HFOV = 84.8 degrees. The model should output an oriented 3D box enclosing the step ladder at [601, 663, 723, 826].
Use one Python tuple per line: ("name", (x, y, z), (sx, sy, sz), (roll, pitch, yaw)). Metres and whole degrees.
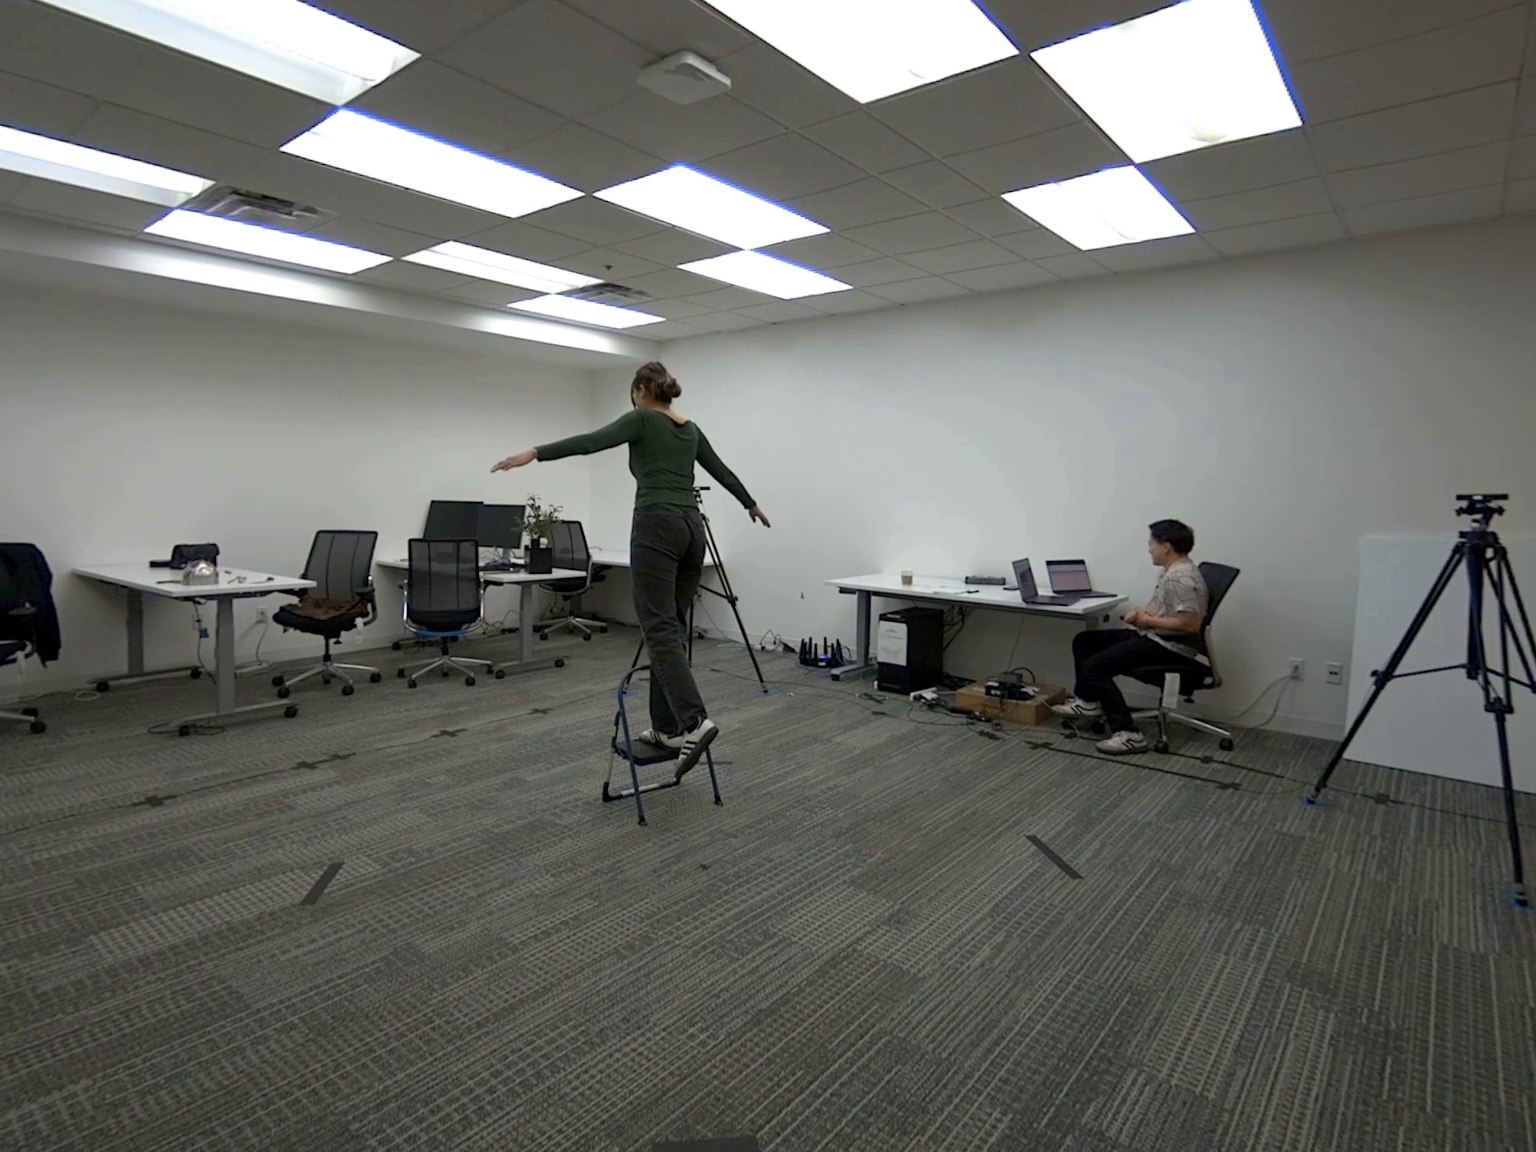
("step ladder", (-0.476, 0.697, 3.739), (0.418, 0.604, 0.361), (-2, 4, -40))
